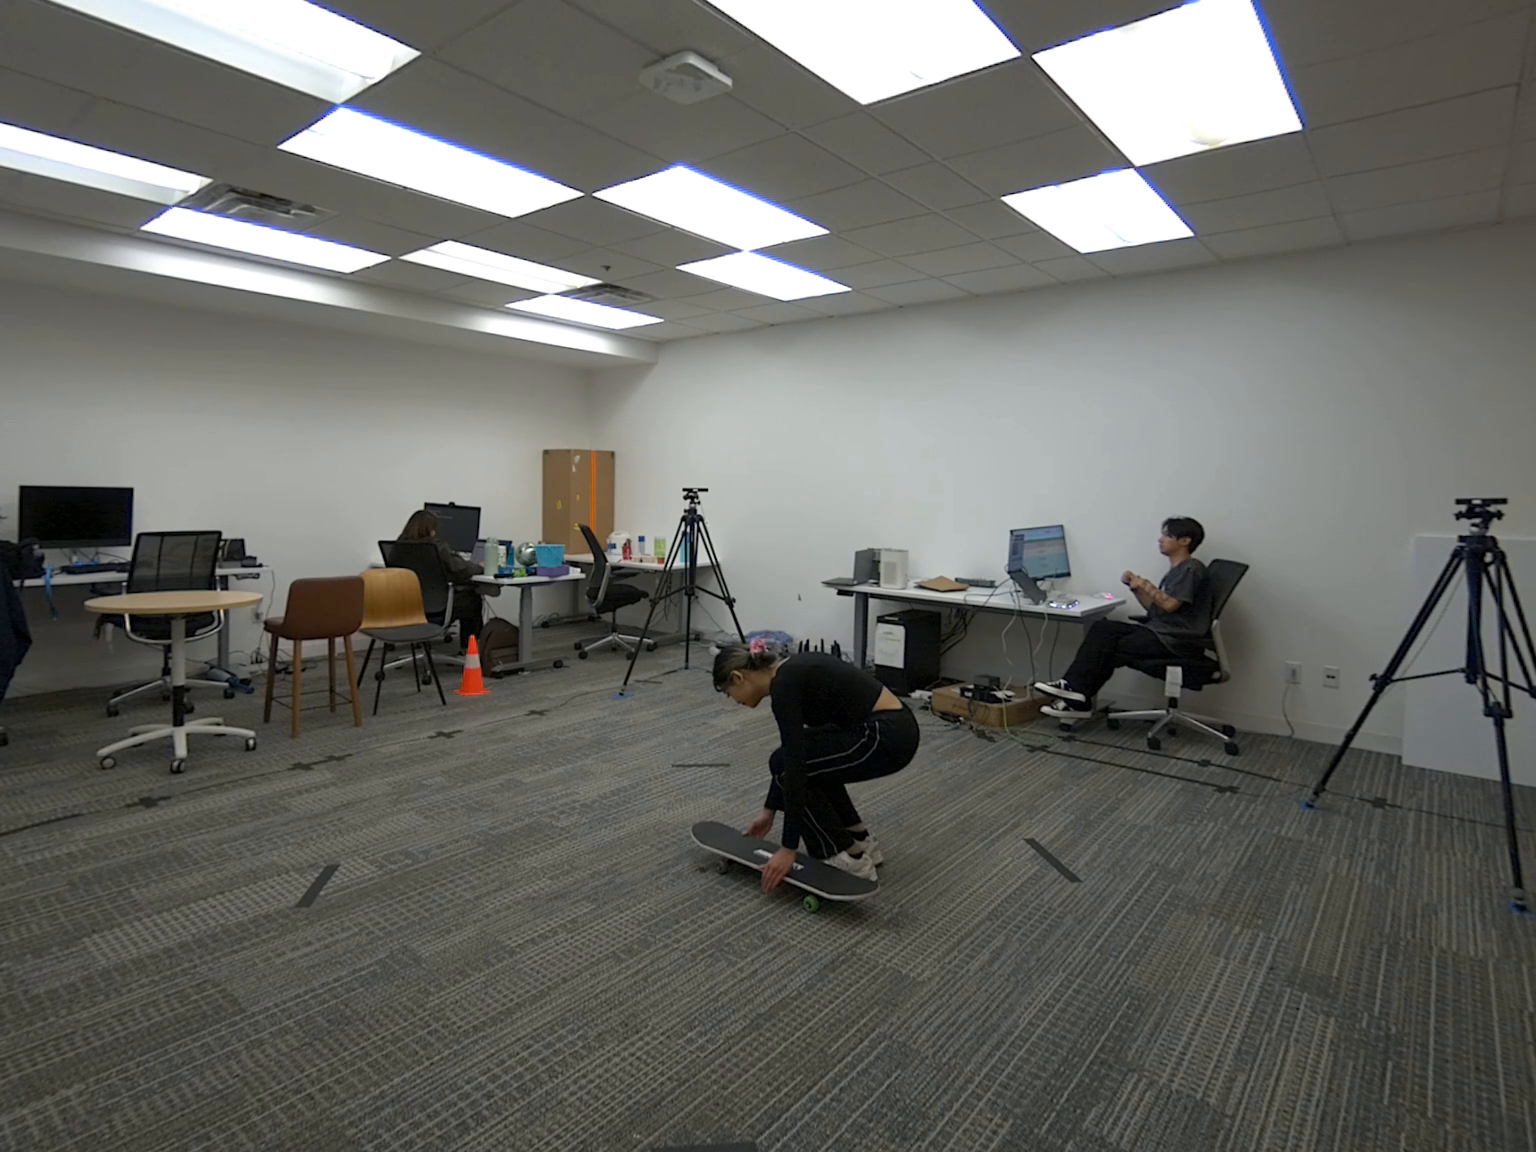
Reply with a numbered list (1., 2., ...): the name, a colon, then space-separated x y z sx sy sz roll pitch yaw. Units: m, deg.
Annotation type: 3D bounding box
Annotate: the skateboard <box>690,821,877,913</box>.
1. skateboard: 0.029 1.026 3.002 0.812 0.110 0.188 6 7 40
